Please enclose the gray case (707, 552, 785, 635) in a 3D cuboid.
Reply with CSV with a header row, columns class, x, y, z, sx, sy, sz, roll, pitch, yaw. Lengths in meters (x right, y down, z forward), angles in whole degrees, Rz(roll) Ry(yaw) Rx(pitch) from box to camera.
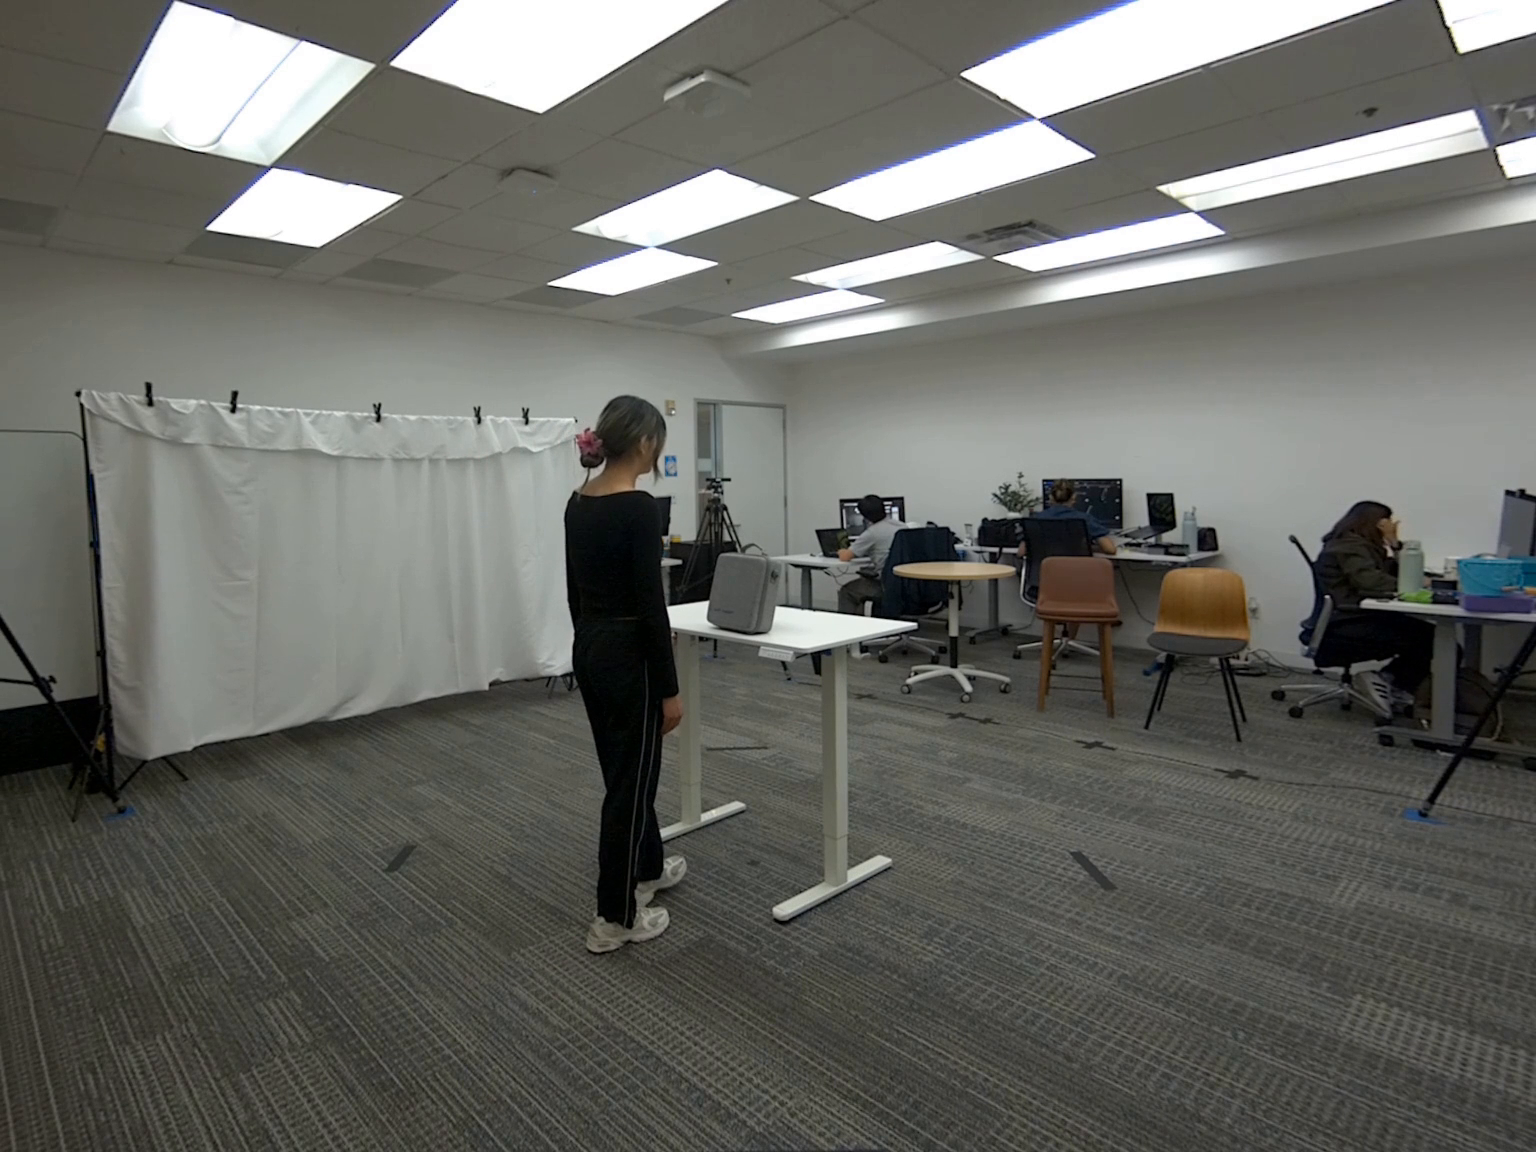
class,x,y,z,sx,sy,sz,roll,pitch,yaw
gray case,-0.078,0.052,2.887,0.101,0.261,0.265,13,-5,-38
